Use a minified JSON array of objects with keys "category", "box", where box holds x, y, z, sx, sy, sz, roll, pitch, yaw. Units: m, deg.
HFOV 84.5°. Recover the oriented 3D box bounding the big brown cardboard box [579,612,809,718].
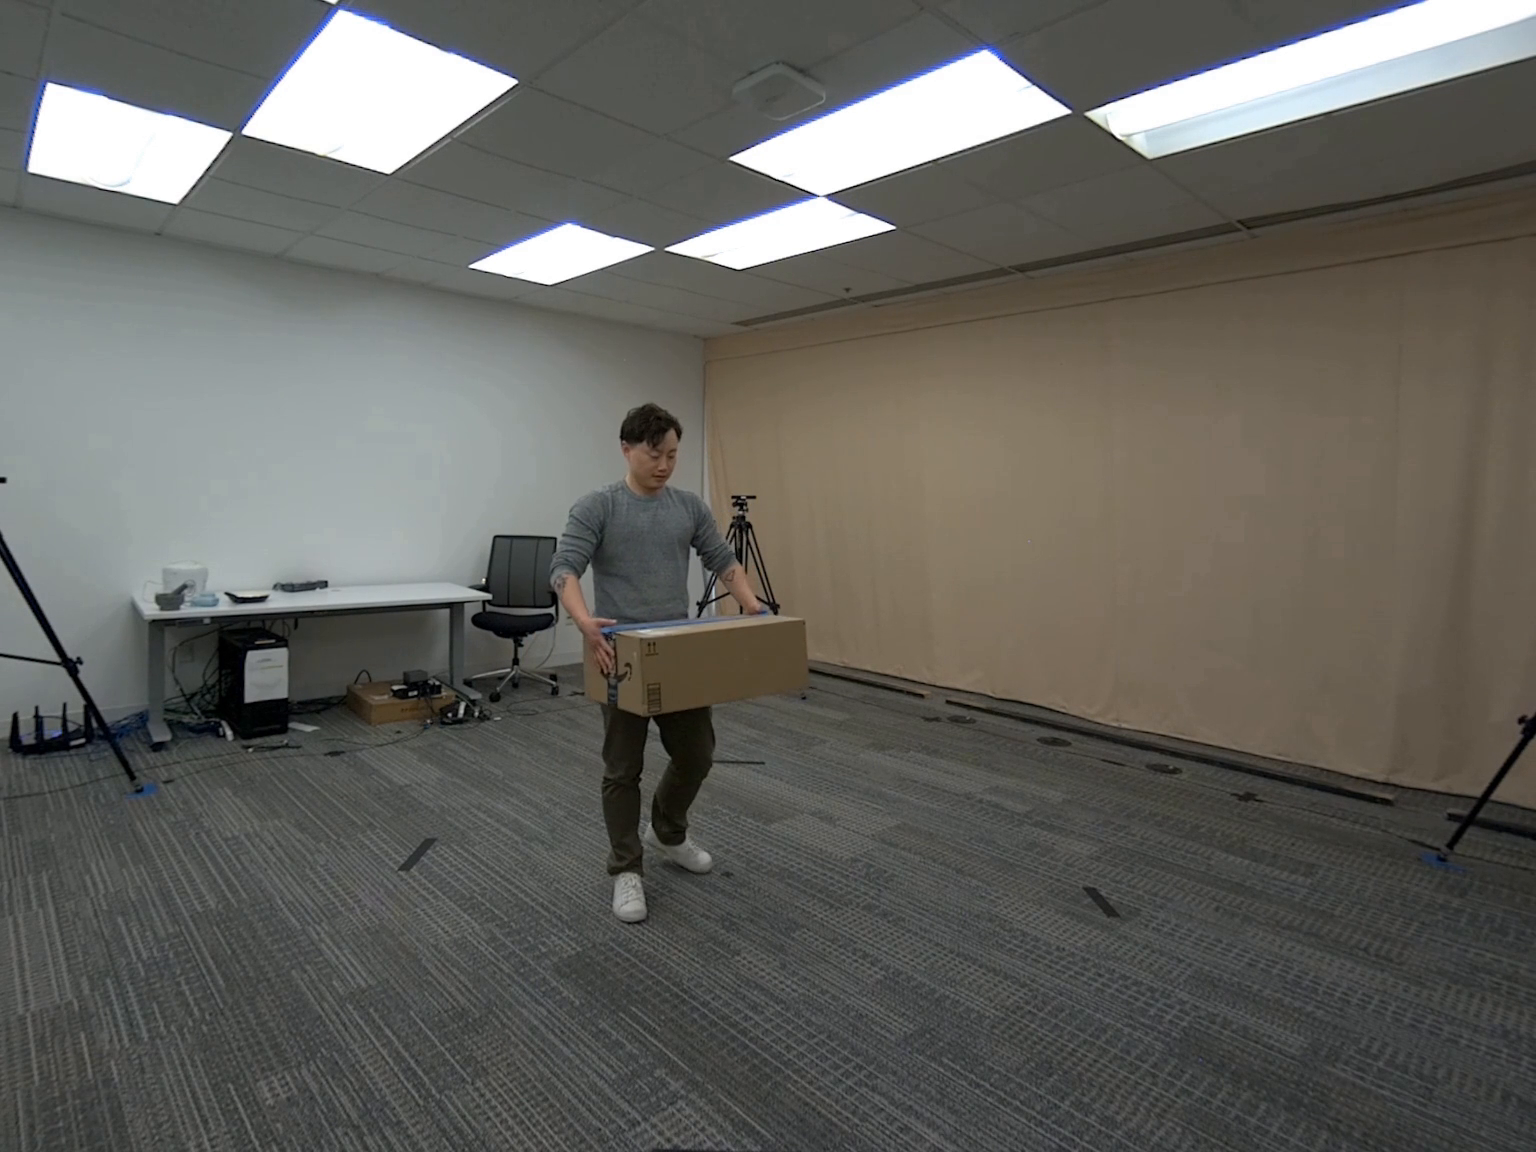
[{"category":"big brown cardboard box","box":[-0.230,0.251,2.585,0.577,0.233,0.426,-3,1,-34]}]
